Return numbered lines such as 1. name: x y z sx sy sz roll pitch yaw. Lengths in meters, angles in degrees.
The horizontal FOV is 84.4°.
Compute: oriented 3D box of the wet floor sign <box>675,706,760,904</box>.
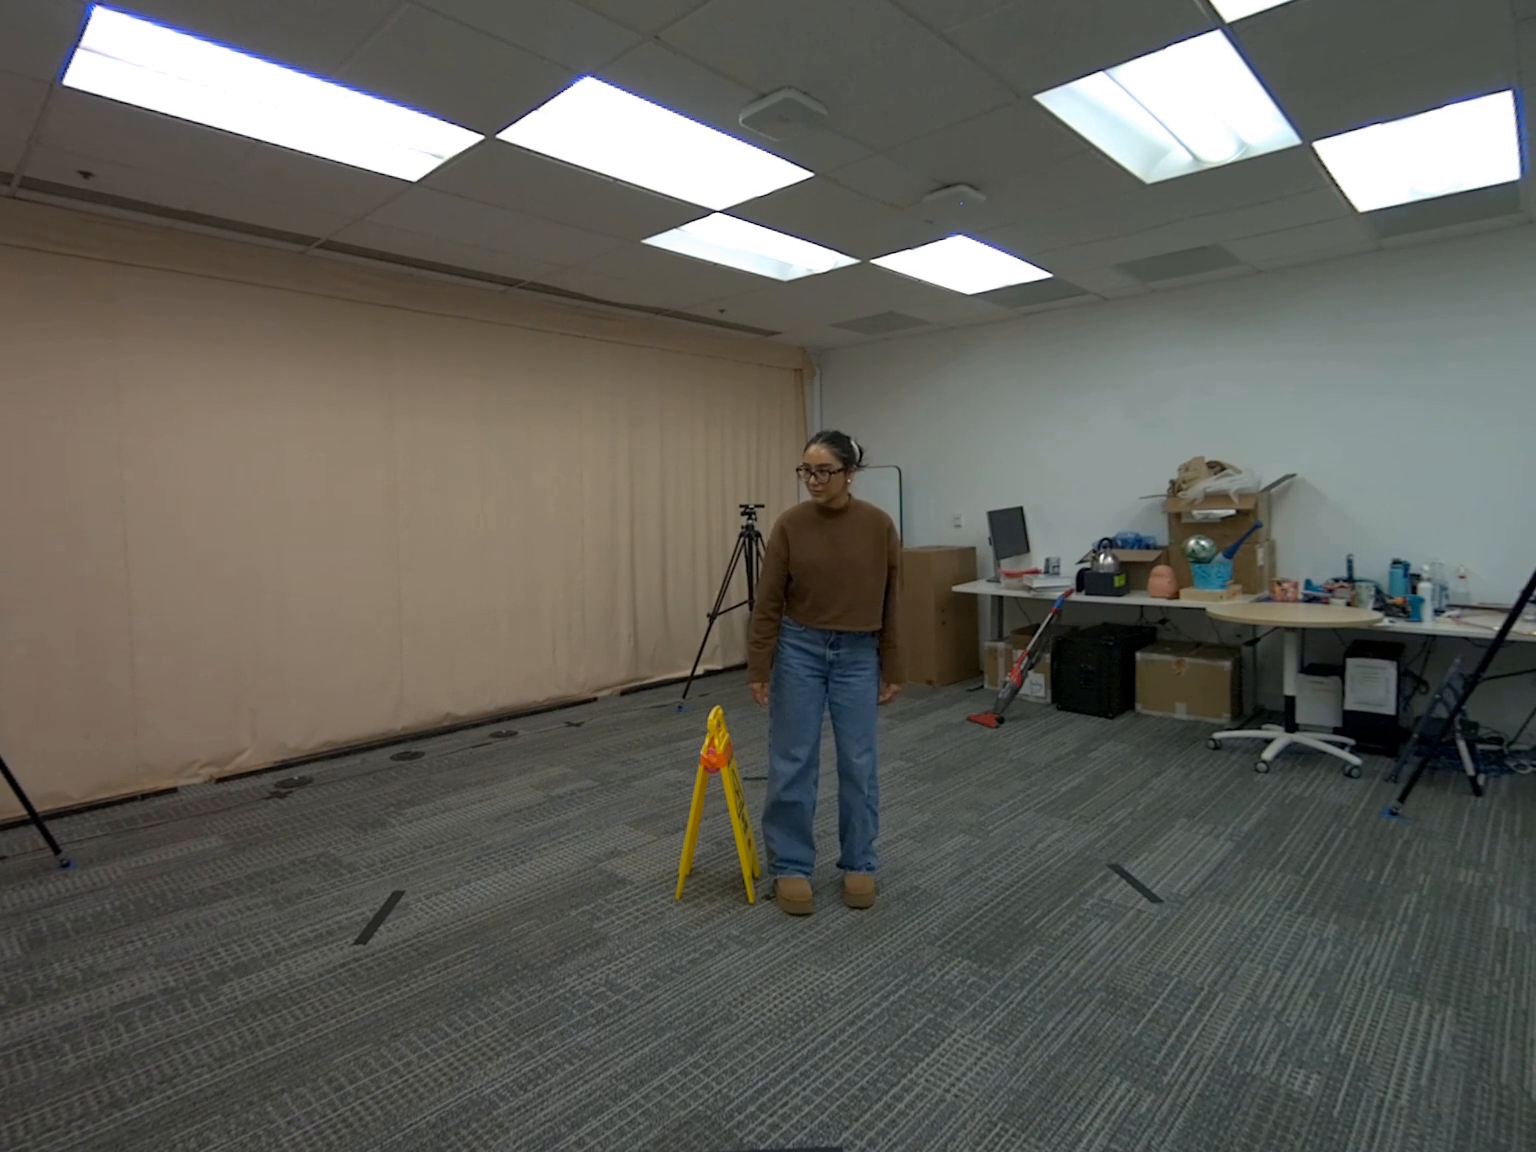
1. wet floor sign: -0.187 0.820 3.061 0.292 0.645 0.280 -2 1 6
